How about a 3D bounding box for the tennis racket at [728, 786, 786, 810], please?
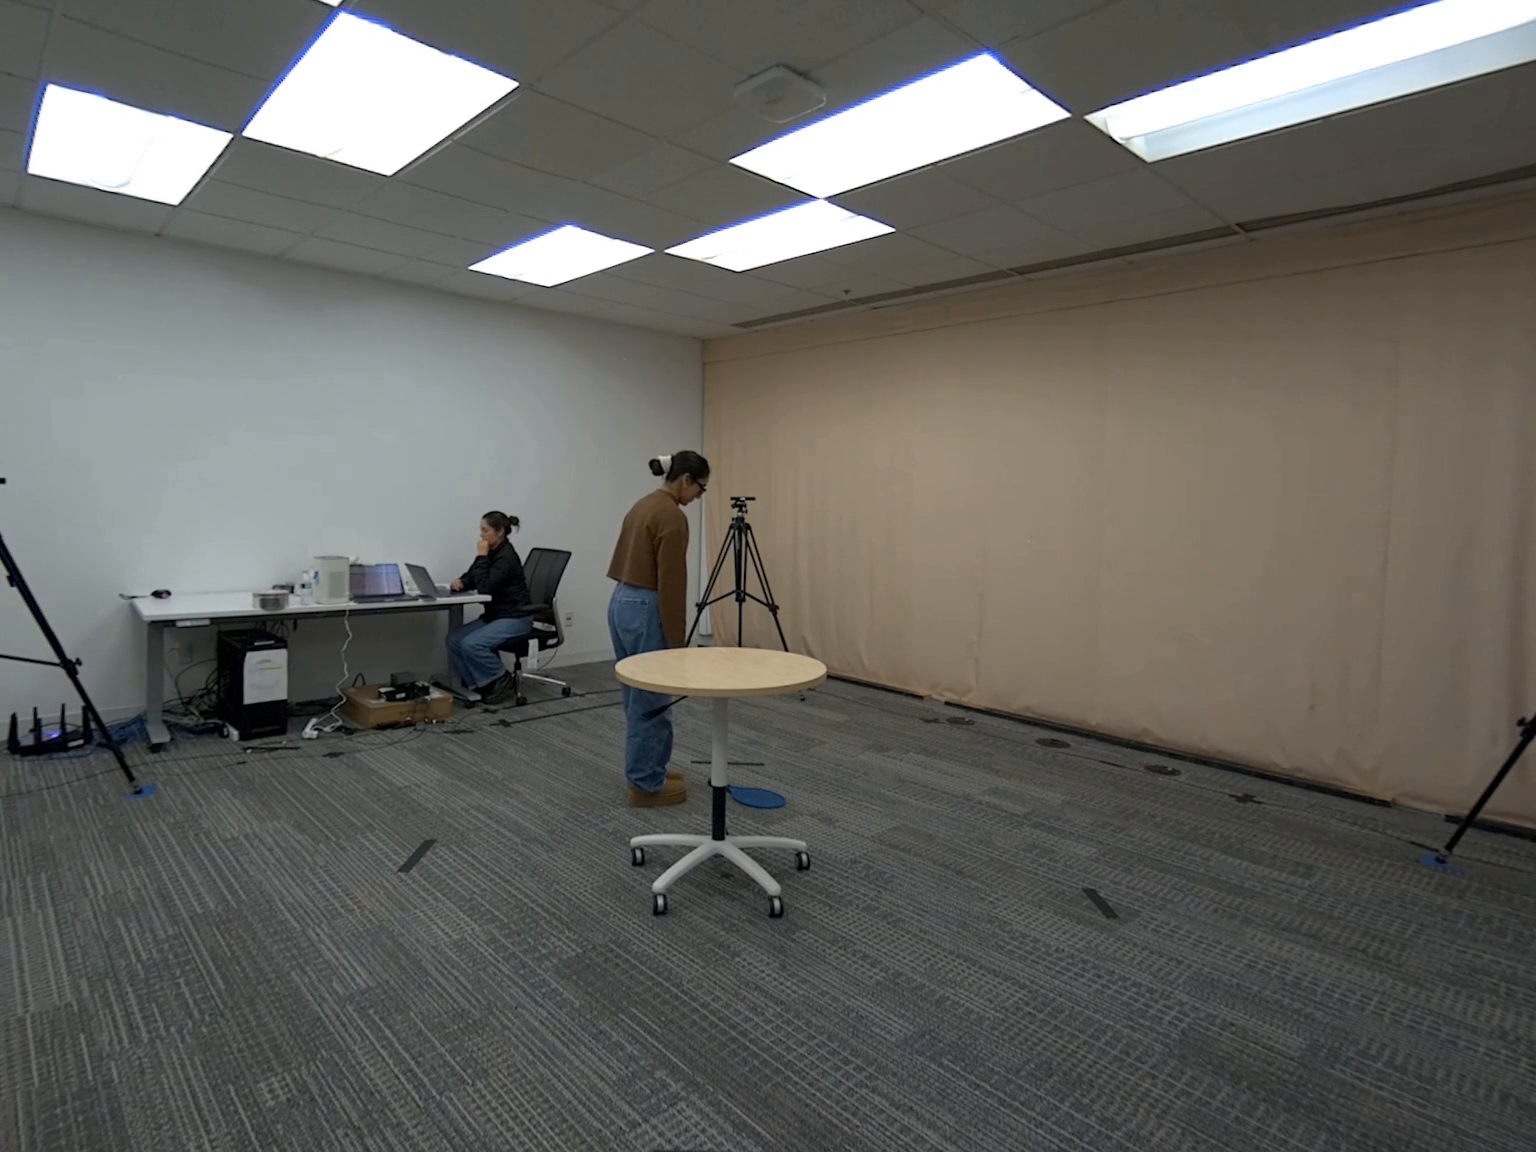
[{"bbox_3d":[-0.118,1.018,3.965,0.444,0.031,0.209,8,7,39],"label":"tennis racket"}]
